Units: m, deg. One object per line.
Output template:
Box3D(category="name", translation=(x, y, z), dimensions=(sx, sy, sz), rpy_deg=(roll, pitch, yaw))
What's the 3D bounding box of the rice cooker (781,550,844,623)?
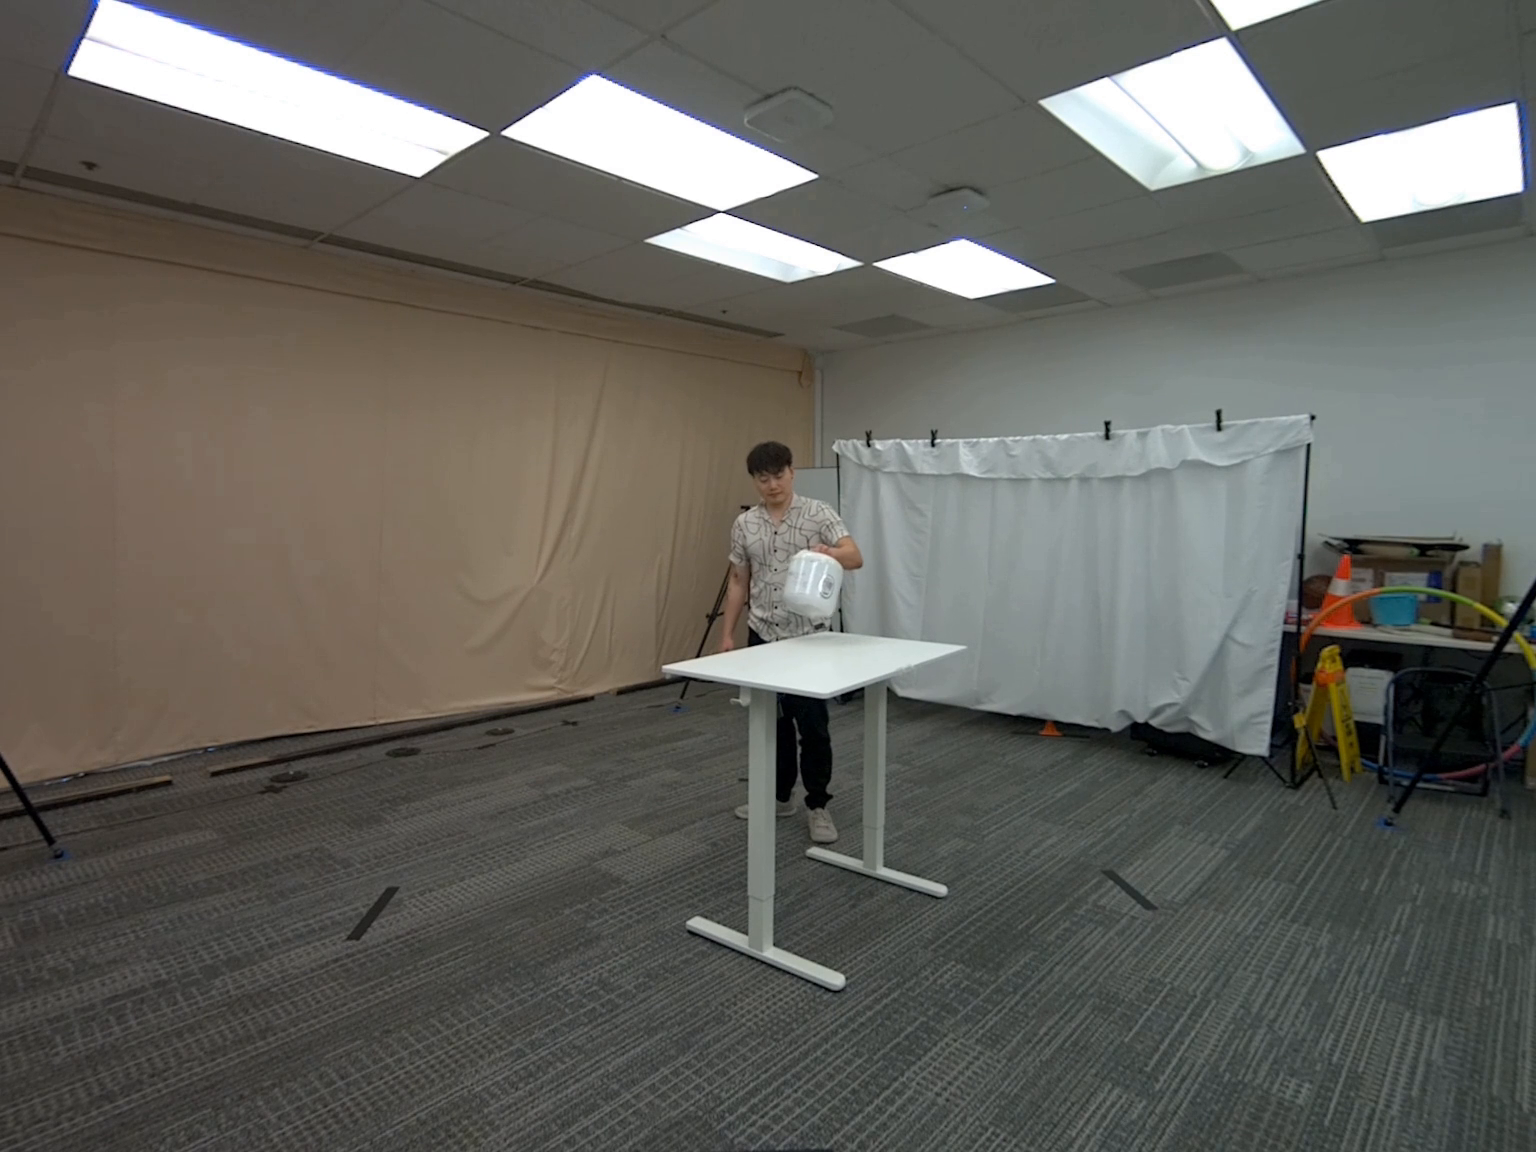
Box3D(category="rice cooker", translation=(0.174, 0.028, 3.197), dimensions=(0.215, 0.234, 0.222), rpy_deg=(21, -20, -24))
